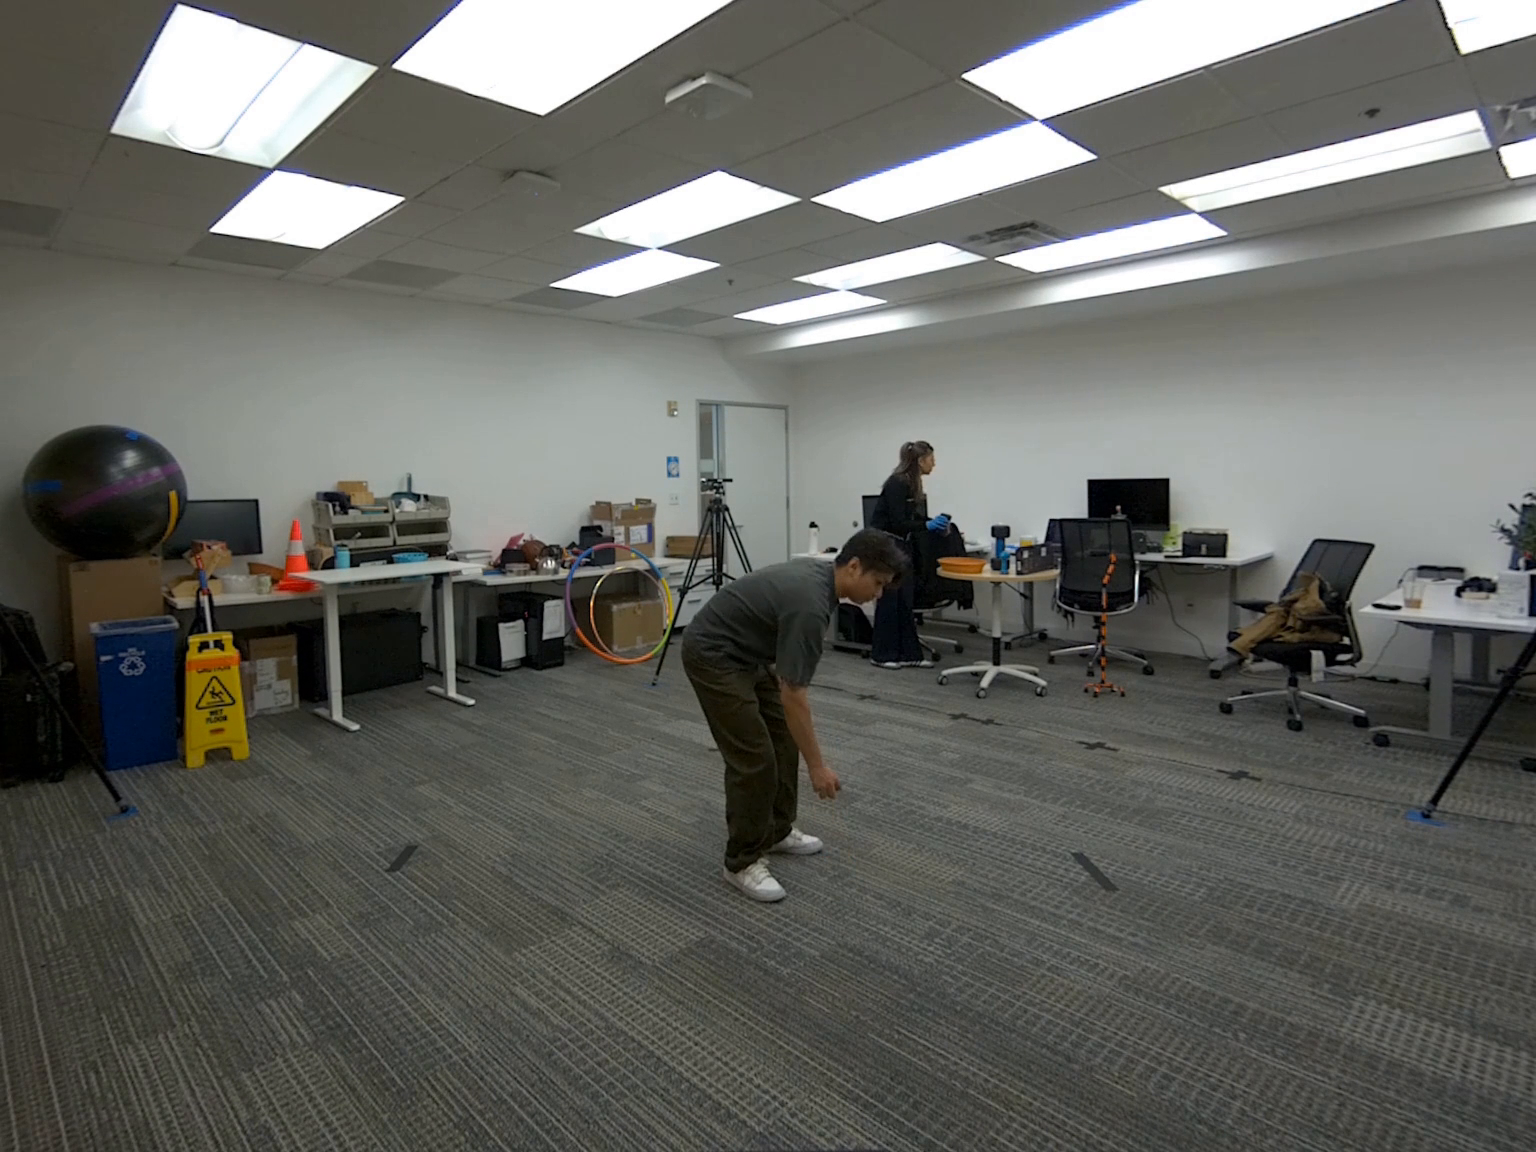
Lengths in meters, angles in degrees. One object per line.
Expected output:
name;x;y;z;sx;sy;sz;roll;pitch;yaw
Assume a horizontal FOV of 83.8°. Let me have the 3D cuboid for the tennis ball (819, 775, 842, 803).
tennis ball;0.209;0.719;2.902;0.066;0.066;0.067;-1;5;-2
